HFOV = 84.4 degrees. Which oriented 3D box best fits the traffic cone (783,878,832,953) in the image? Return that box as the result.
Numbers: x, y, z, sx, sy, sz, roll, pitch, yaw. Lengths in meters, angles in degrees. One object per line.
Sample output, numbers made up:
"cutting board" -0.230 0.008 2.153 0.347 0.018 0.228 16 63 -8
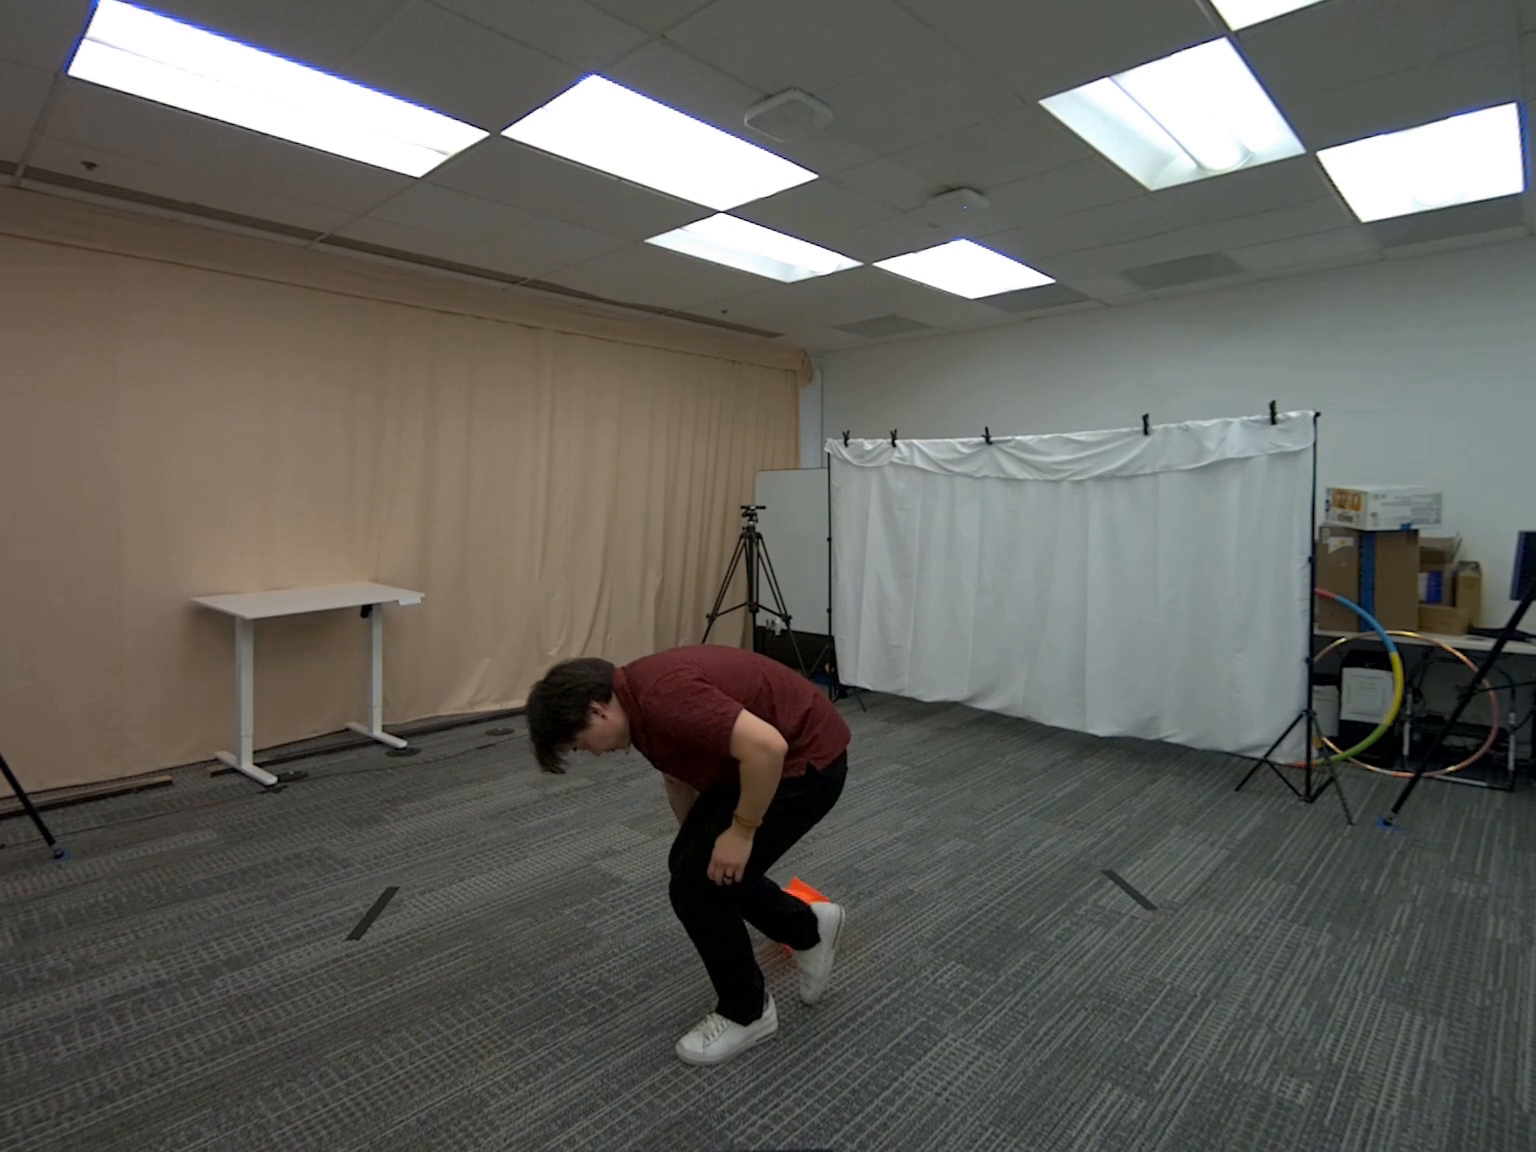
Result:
"traffic cone" -0.025 1.003 2.570 0.371 0.203 0.212 31 -10 -33
